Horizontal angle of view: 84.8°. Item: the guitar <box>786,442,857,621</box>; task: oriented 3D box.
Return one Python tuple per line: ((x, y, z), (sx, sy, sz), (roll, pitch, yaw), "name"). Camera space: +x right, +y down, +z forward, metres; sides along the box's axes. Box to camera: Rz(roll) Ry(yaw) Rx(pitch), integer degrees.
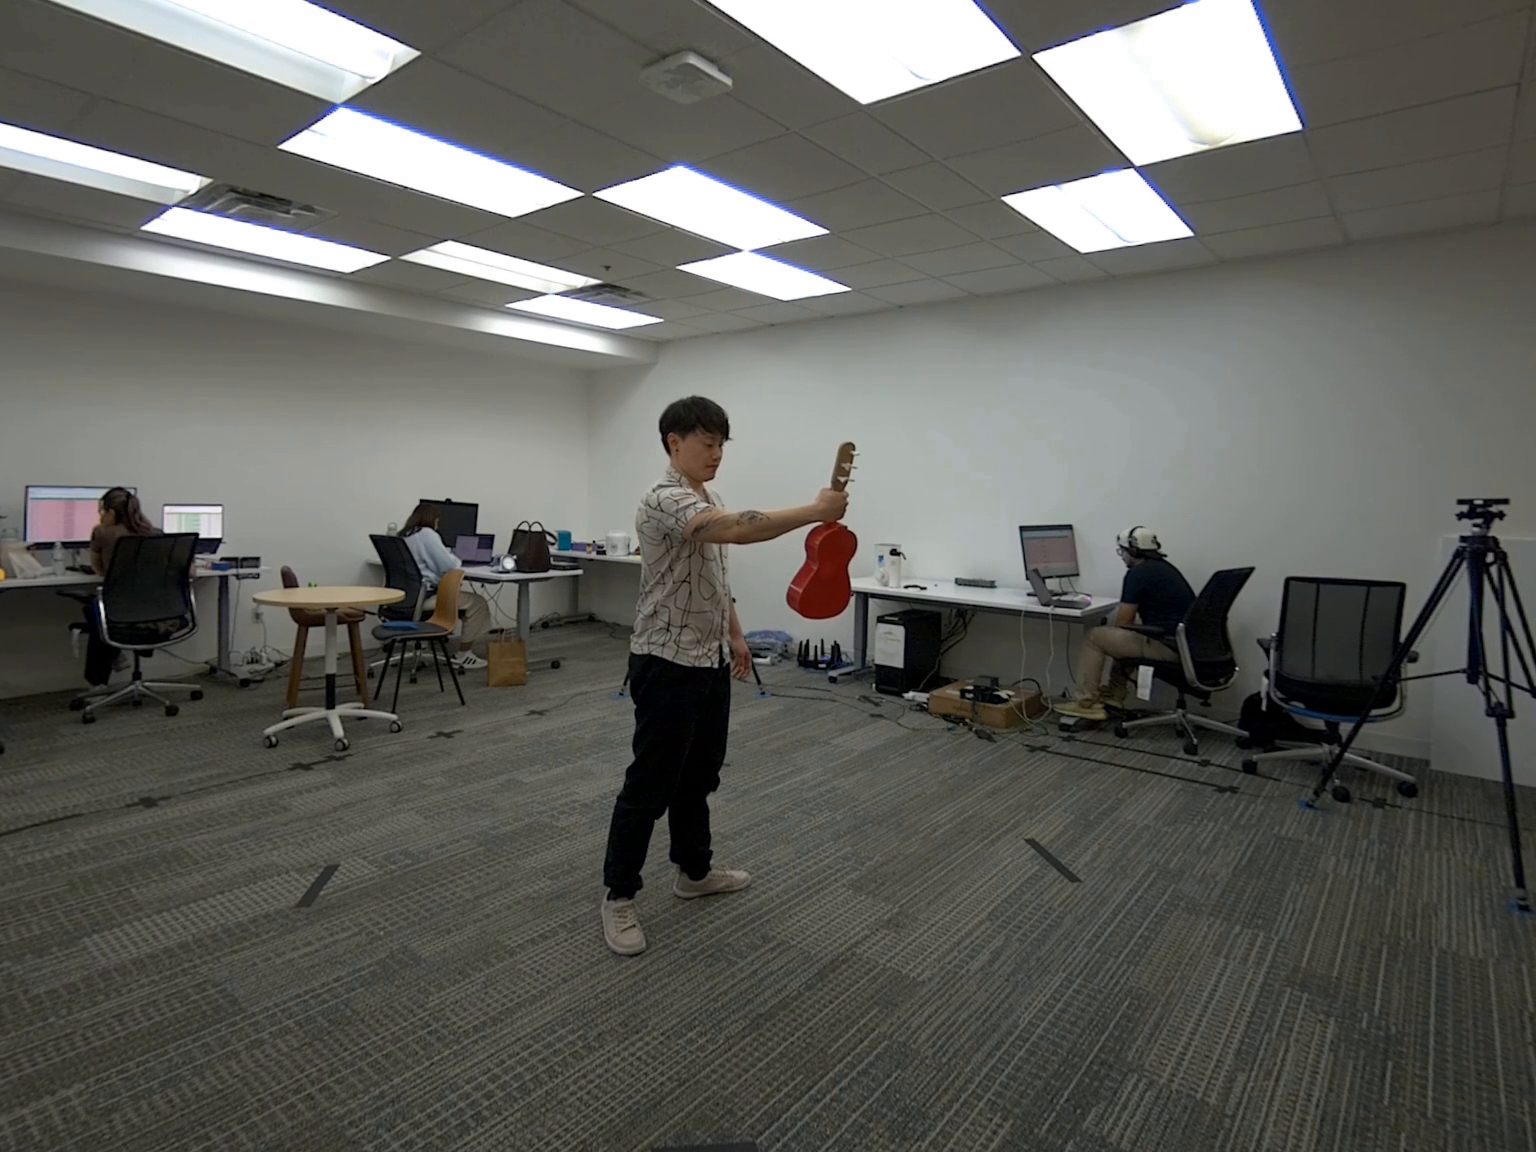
((0.147, -0.120, 2.355), (0.188, 0.489, 0.073), (-9, 23, -31), "guitar")
